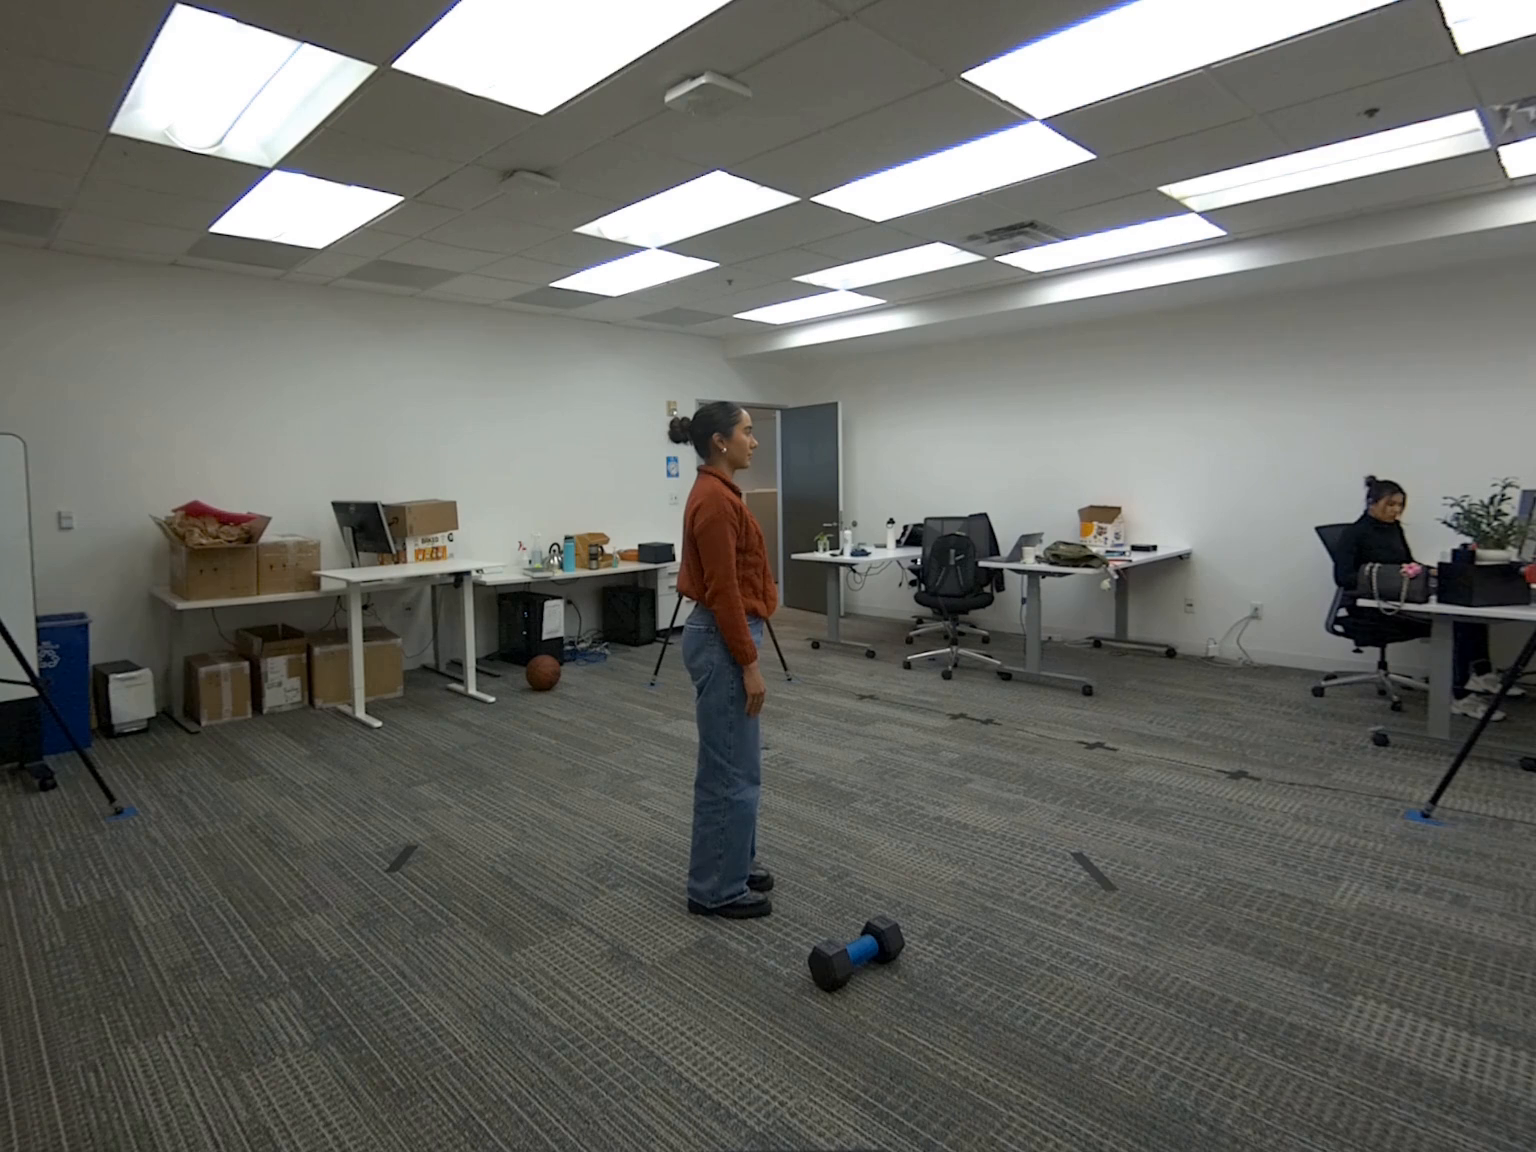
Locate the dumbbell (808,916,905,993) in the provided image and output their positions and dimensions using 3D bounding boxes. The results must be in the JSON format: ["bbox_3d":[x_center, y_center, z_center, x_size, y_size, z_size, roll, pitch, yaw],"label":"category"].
[{"bbox_3d":[0.258,1.066,2.417,0.286,0.126,0.109,-6,-24,-39],"label":"dumbbell"}]
